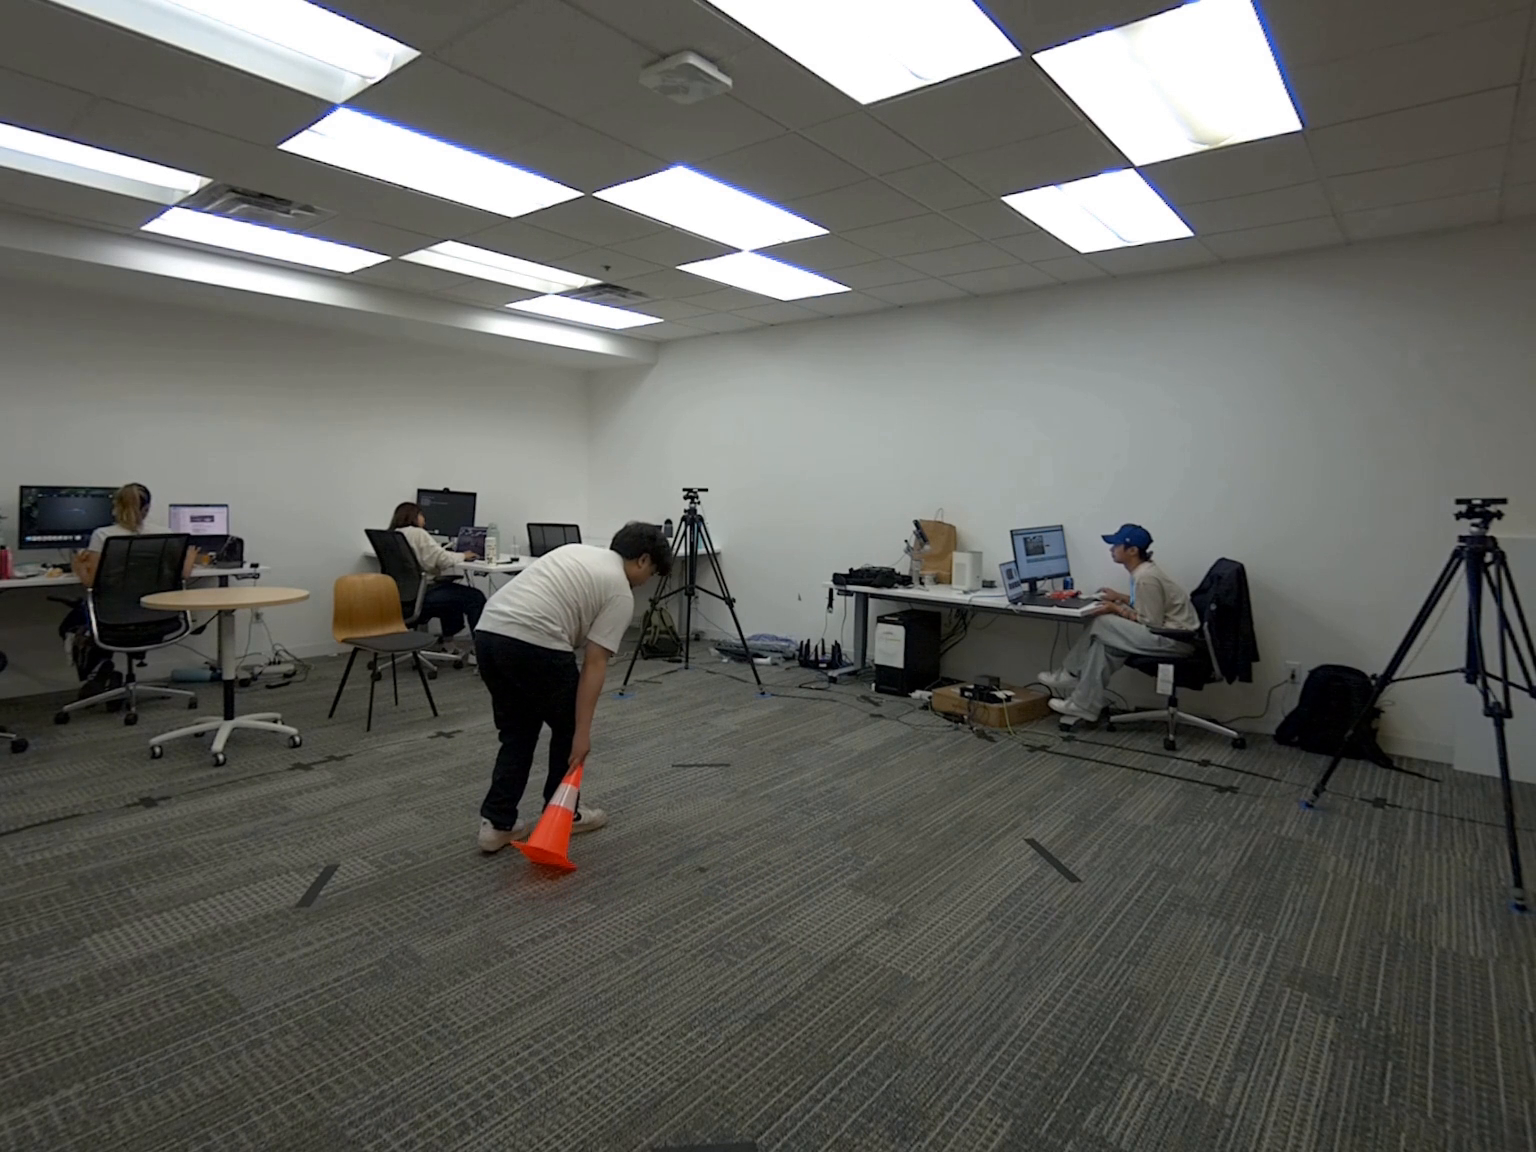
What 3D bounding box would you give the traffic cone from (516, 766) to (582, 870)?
[{"bbox_3d":[-0.773,0.852,3.152,0.209,0.391,0.196,3,-34,16],"label":"traffic cone"}]
